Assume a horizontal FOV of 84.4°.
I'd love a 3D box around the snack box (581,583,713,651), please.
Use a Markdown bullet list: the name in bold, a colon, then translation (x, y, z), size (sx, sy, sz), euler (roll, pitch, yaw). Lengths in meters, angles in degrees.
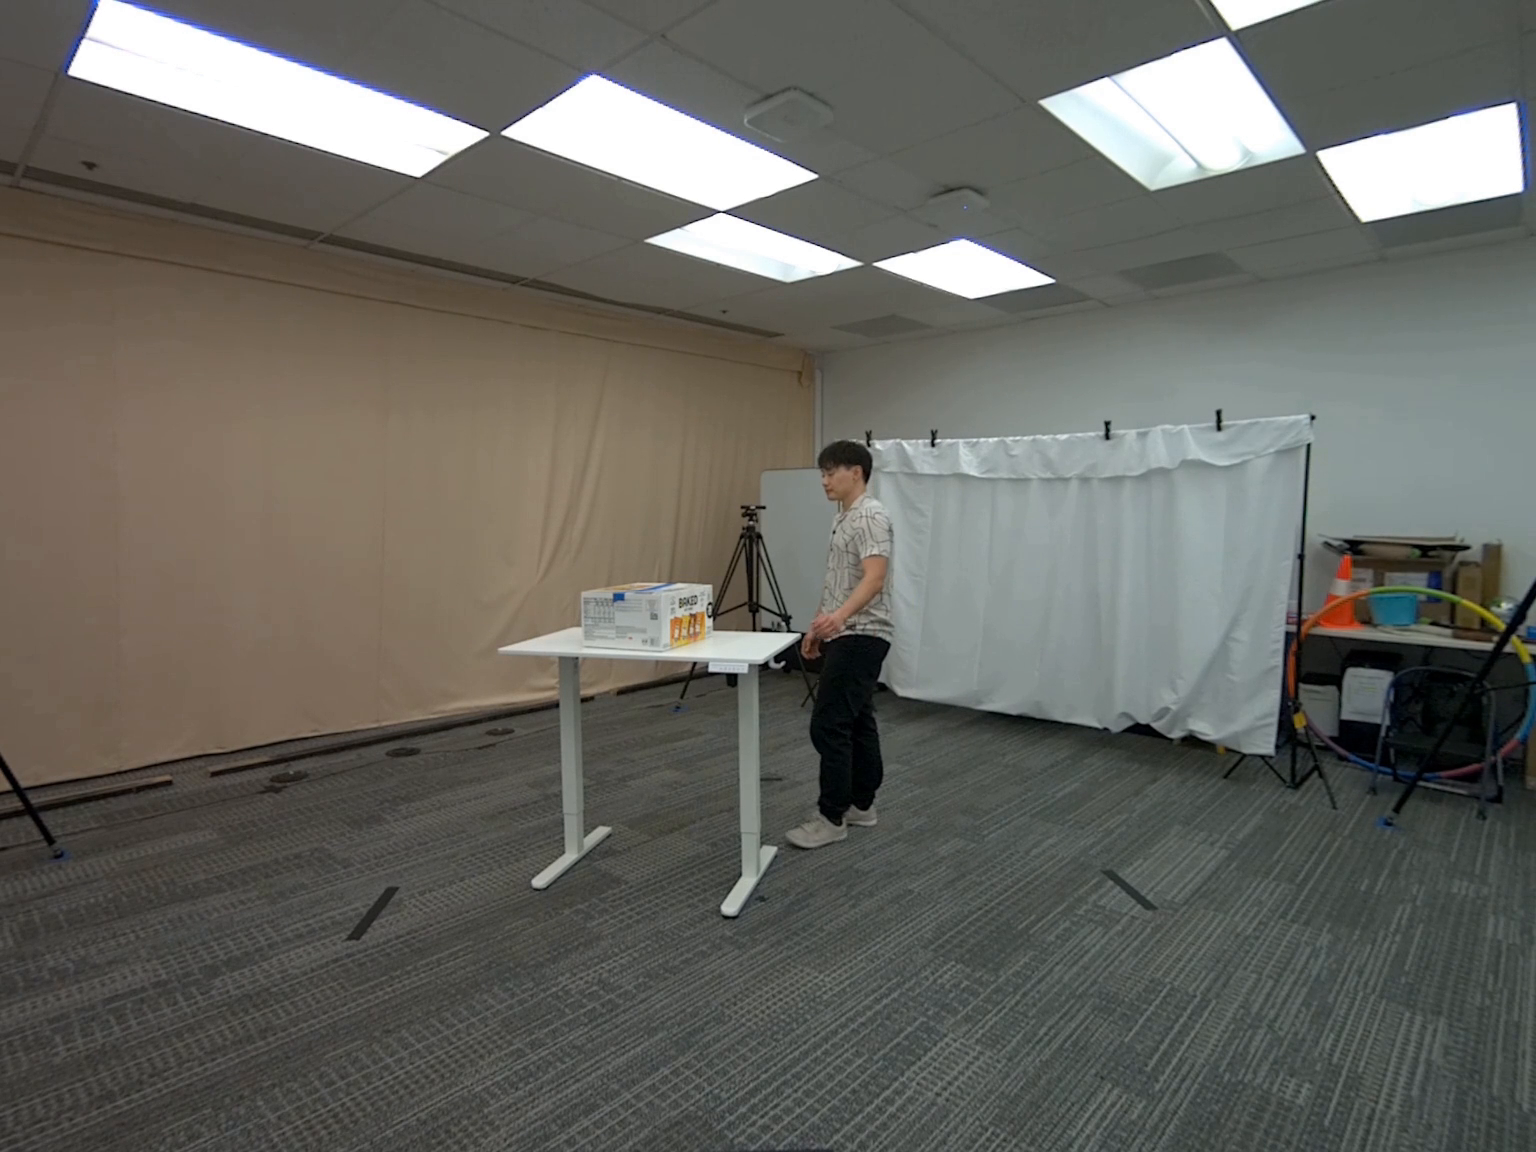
- **snack box**: translation (-0.445, 0.147, 3.178), size (0.349, 0.205, 0.396), euler (1, 4, 24)
